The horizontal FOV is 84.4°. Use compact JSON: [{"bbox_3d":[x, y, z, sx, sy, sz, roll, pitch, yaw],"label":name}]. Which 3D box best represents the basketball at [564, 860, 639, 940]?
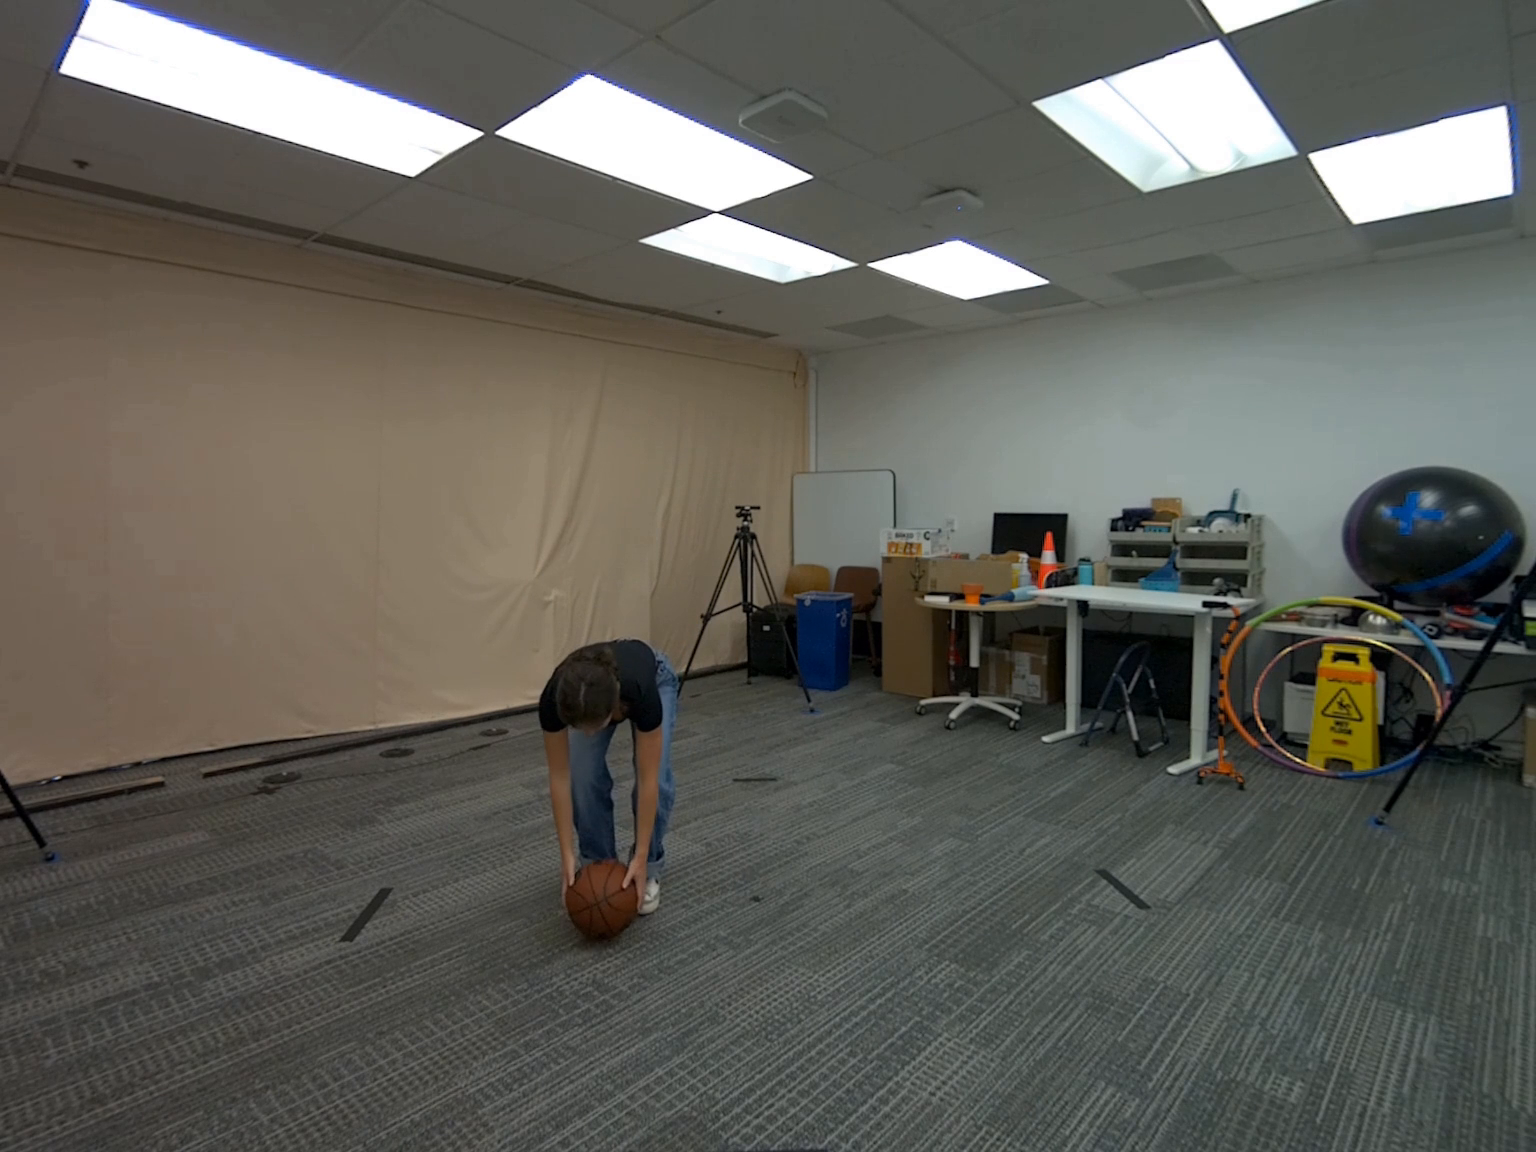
[{"bbox_3d":[-0.528,1.022,2.709,0.236,0.235,0.237,0,4,-2],"label":"basketball"}]
